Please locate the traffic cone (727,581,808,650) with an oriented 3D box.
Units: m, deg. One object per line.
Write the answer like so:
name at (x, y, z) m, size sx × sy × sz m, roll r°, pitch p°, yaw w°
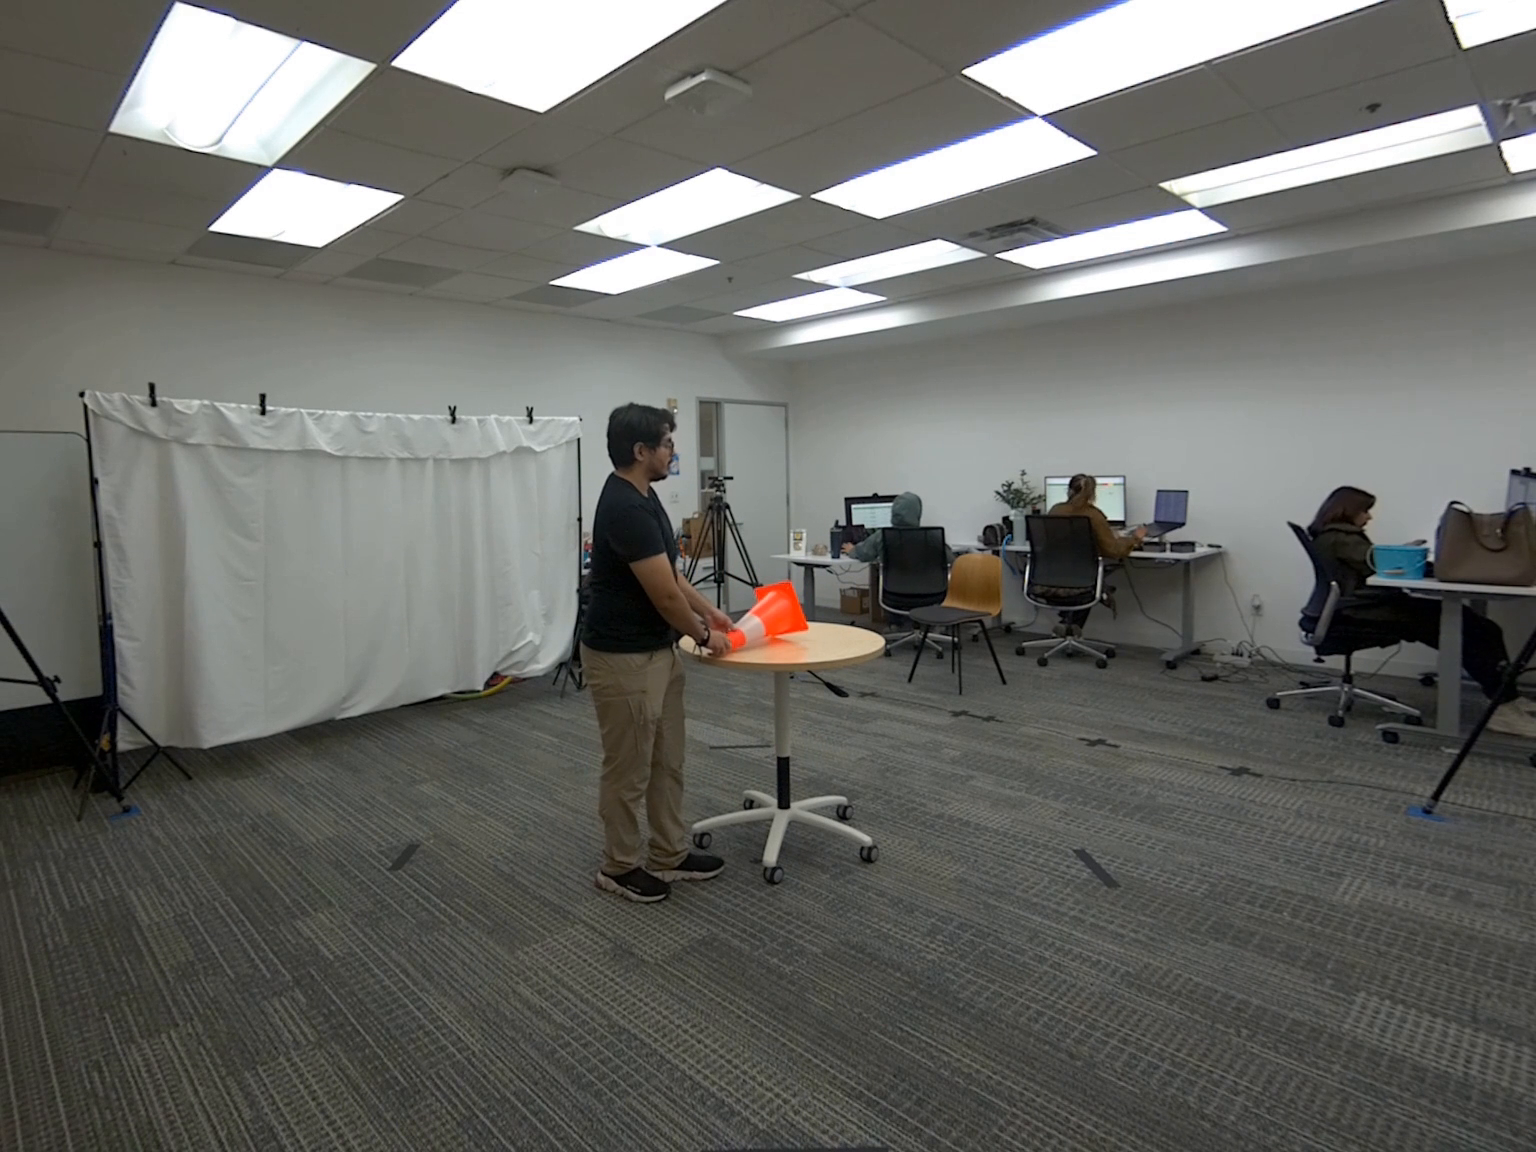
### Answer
traffic cone at (-0.064, 0.195, 3.073) m, size 0.209 × 0.202 × 0.379 m, roll -16°, pitch 9°, yaw 46°
